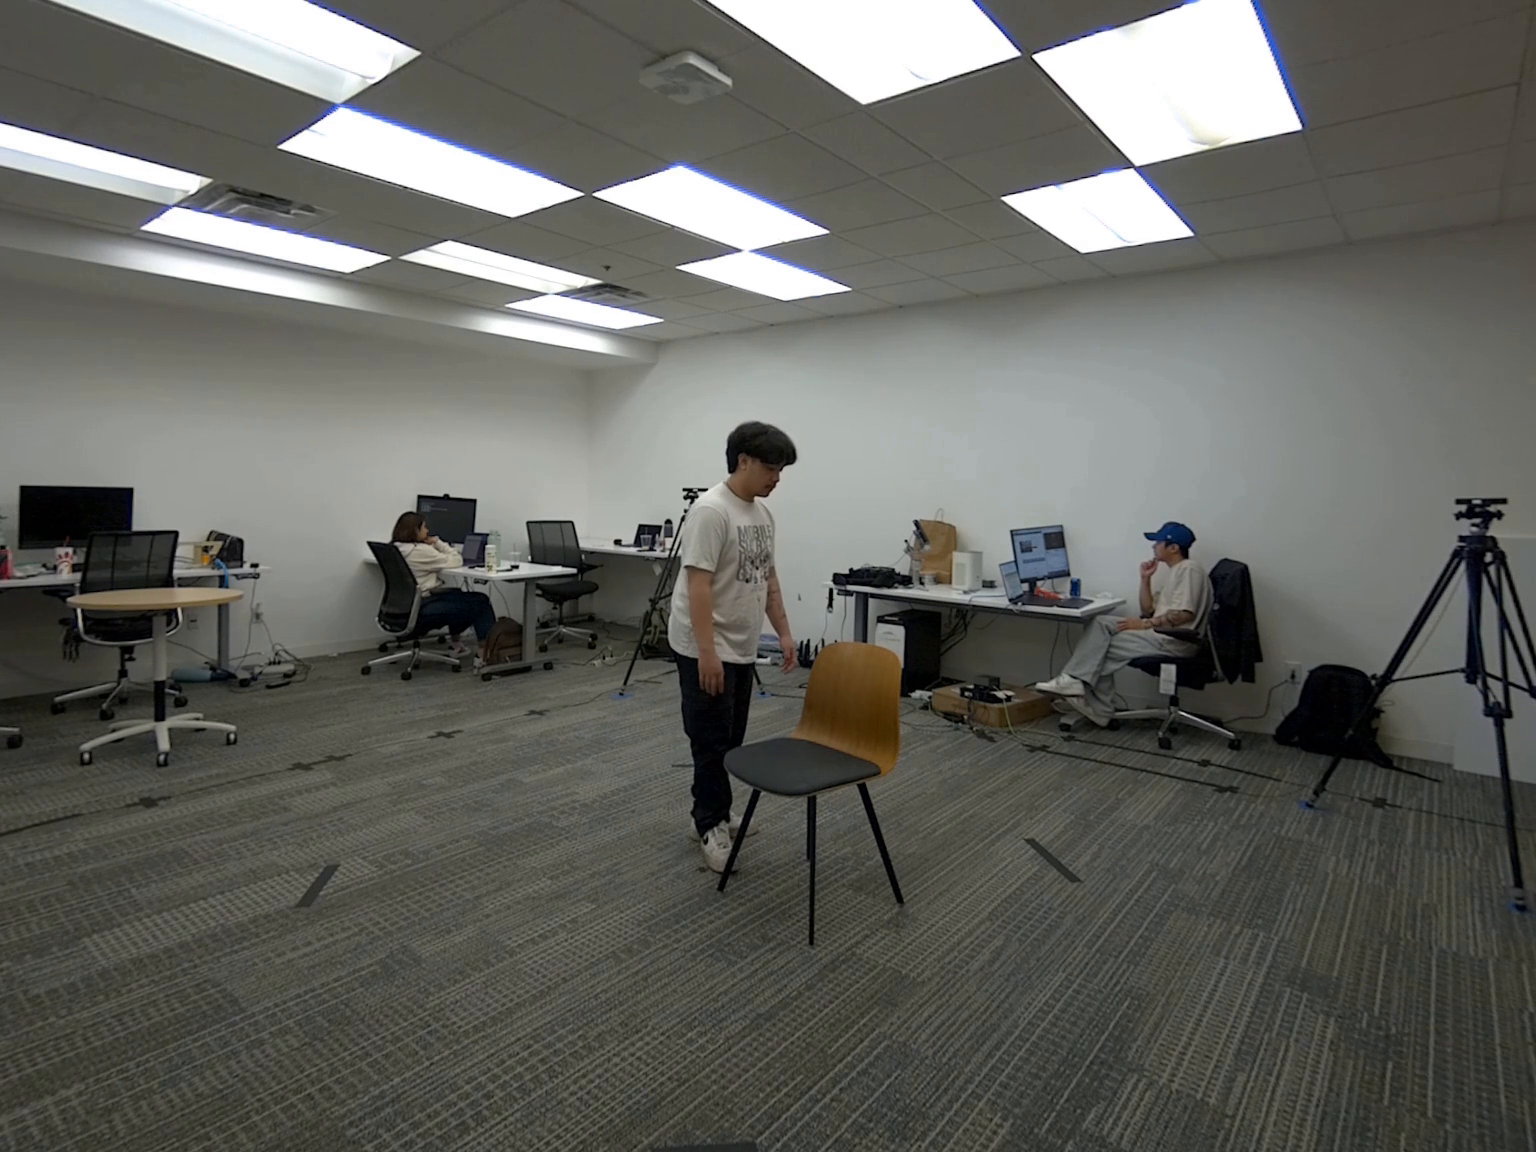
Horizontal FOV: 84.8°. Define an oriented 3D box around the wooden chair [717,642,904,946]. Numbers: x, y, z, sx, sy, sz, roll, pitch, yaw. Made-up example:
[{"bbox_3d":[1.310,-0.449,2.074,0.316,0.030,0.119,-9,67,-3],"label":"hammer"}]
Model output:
[{"bbox_3d":[0.140,0.672,2.877,0.506,0.877,0.495,4,1,-42],"label":"wooden chair"}]
